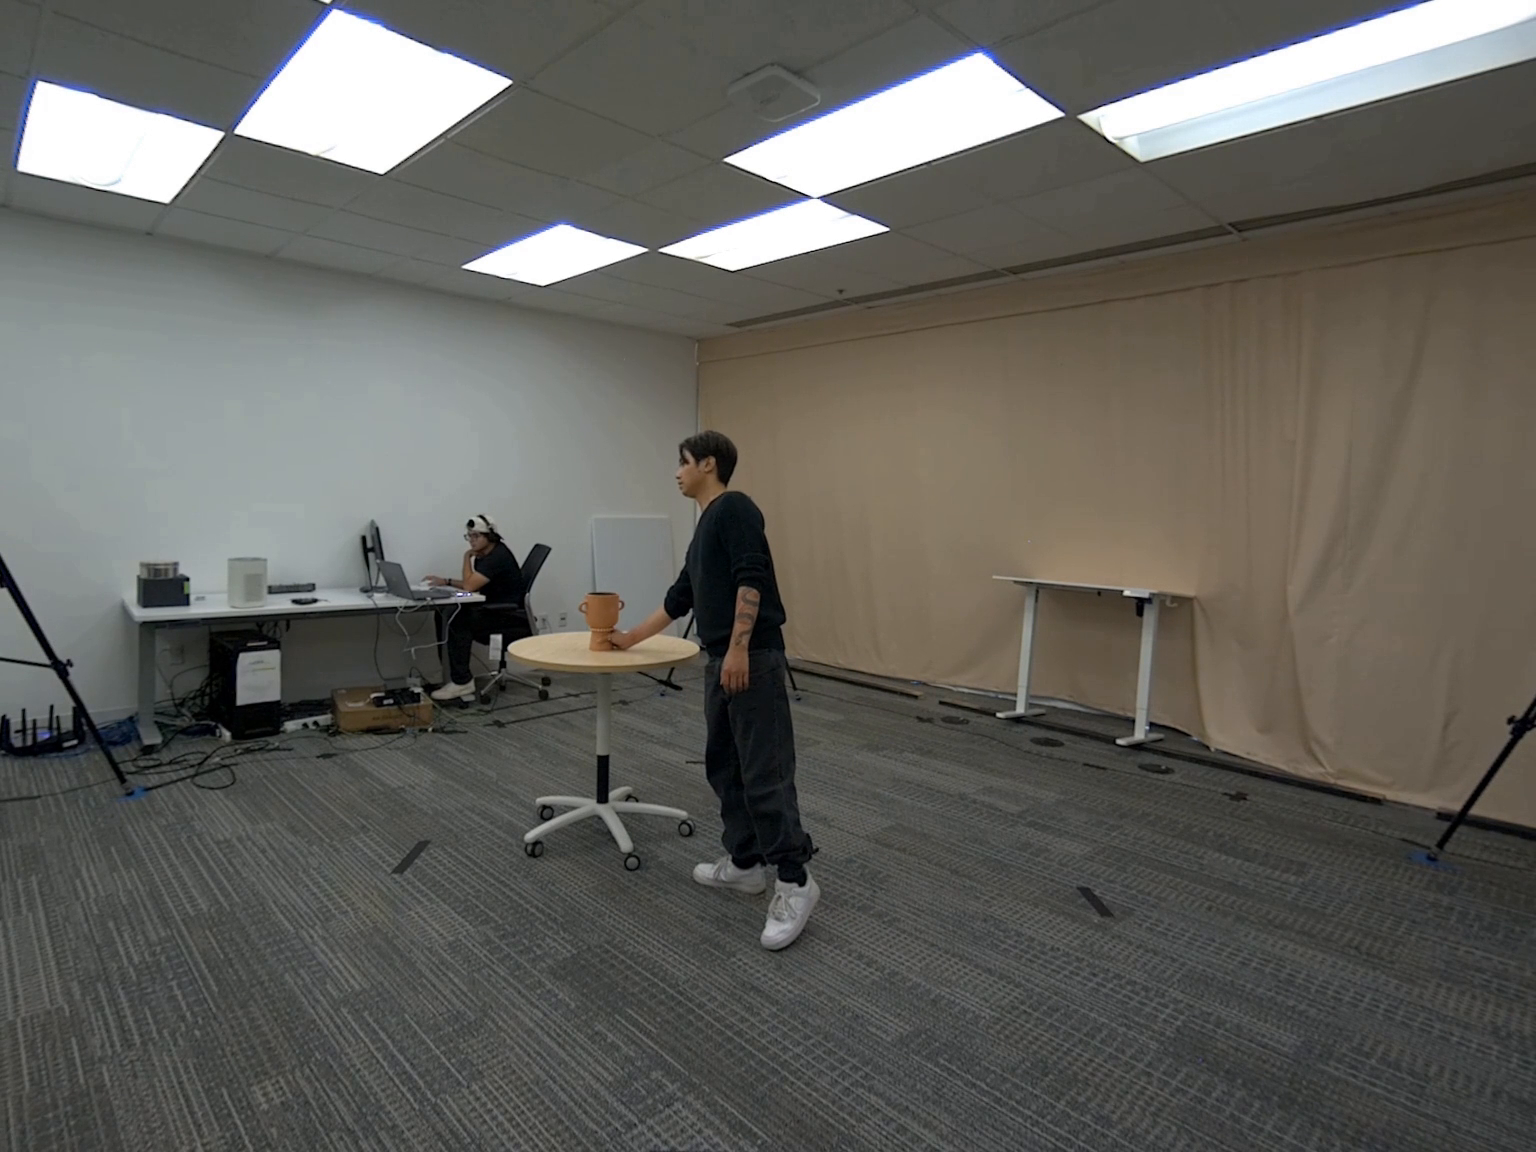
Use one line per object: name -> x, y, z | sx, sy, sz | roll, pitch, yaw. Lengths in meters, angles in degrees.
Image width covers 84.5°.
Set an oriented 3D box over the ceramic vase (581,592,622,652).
ceramic vase -> -0.663, 0.178, 3.341 | 0.159, 0.219, 0.134 | 2, 5, 5
